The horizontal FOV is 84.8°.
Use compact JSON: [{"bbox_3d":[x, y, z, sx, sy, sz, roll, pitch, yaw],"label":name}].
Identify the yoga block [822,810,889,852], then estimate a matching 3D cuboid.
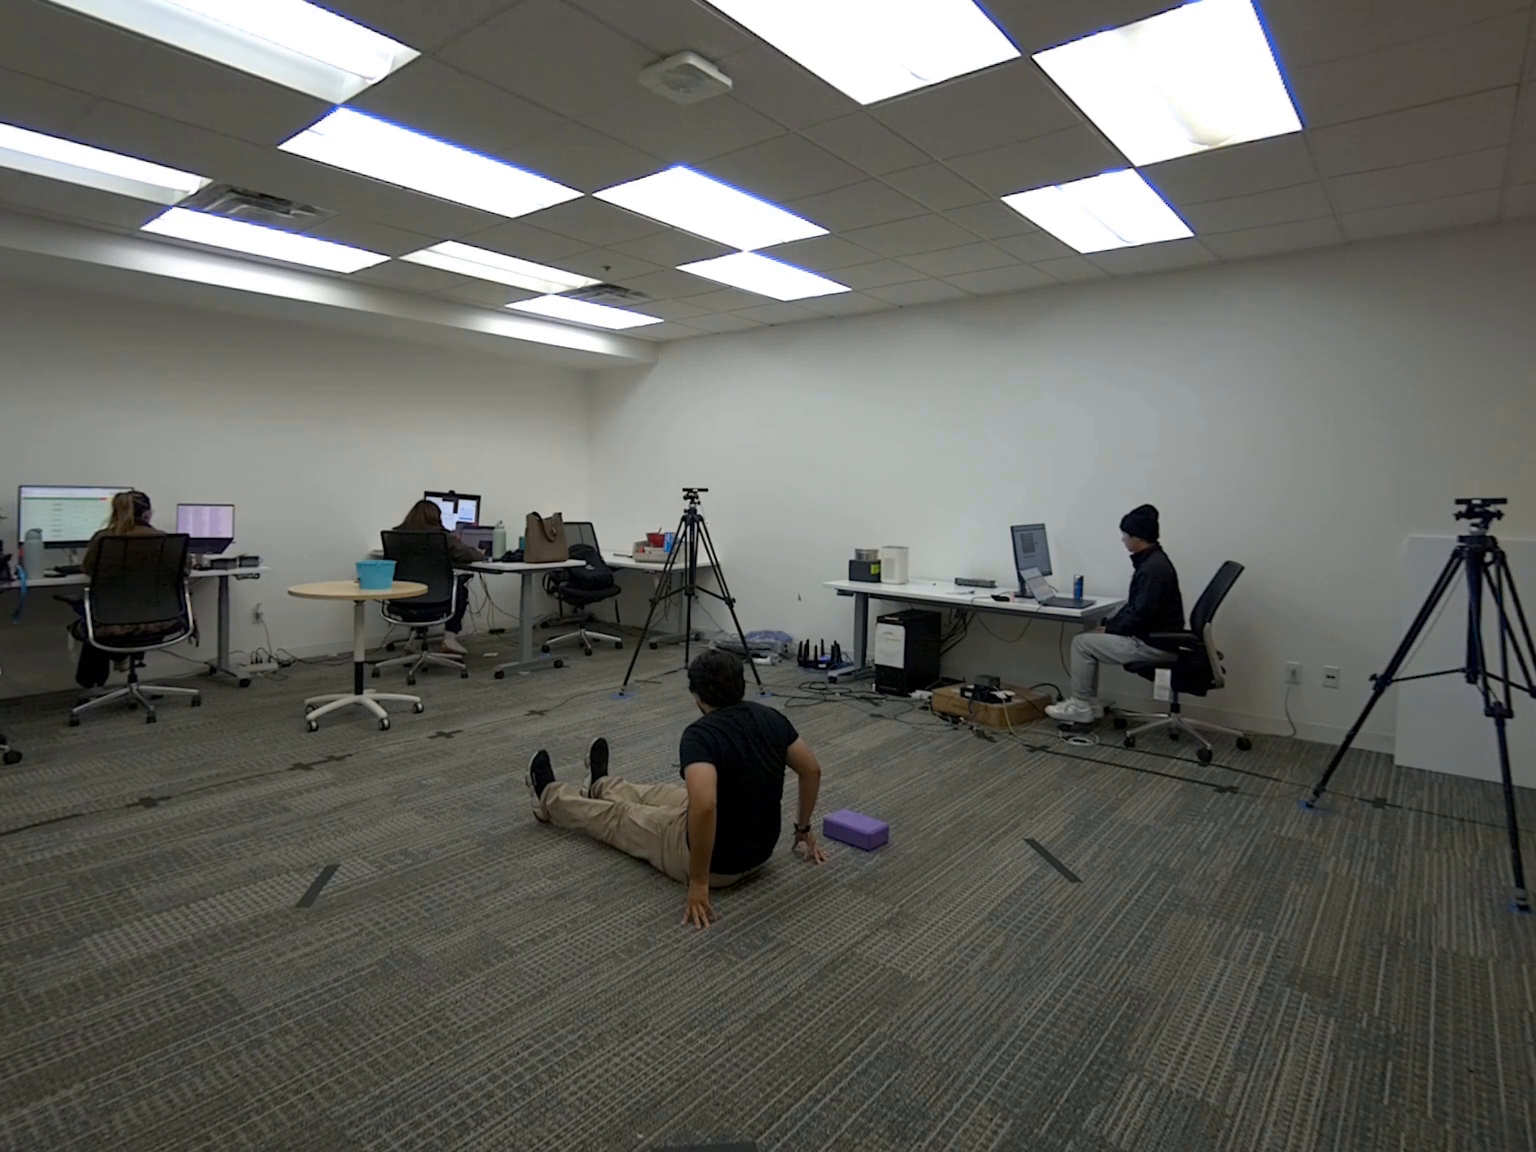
[{"bbox_3d":[0.339,1.010,3.416,0.237,0.076,0.144,6,6,41],"label":"yoga block"}]
